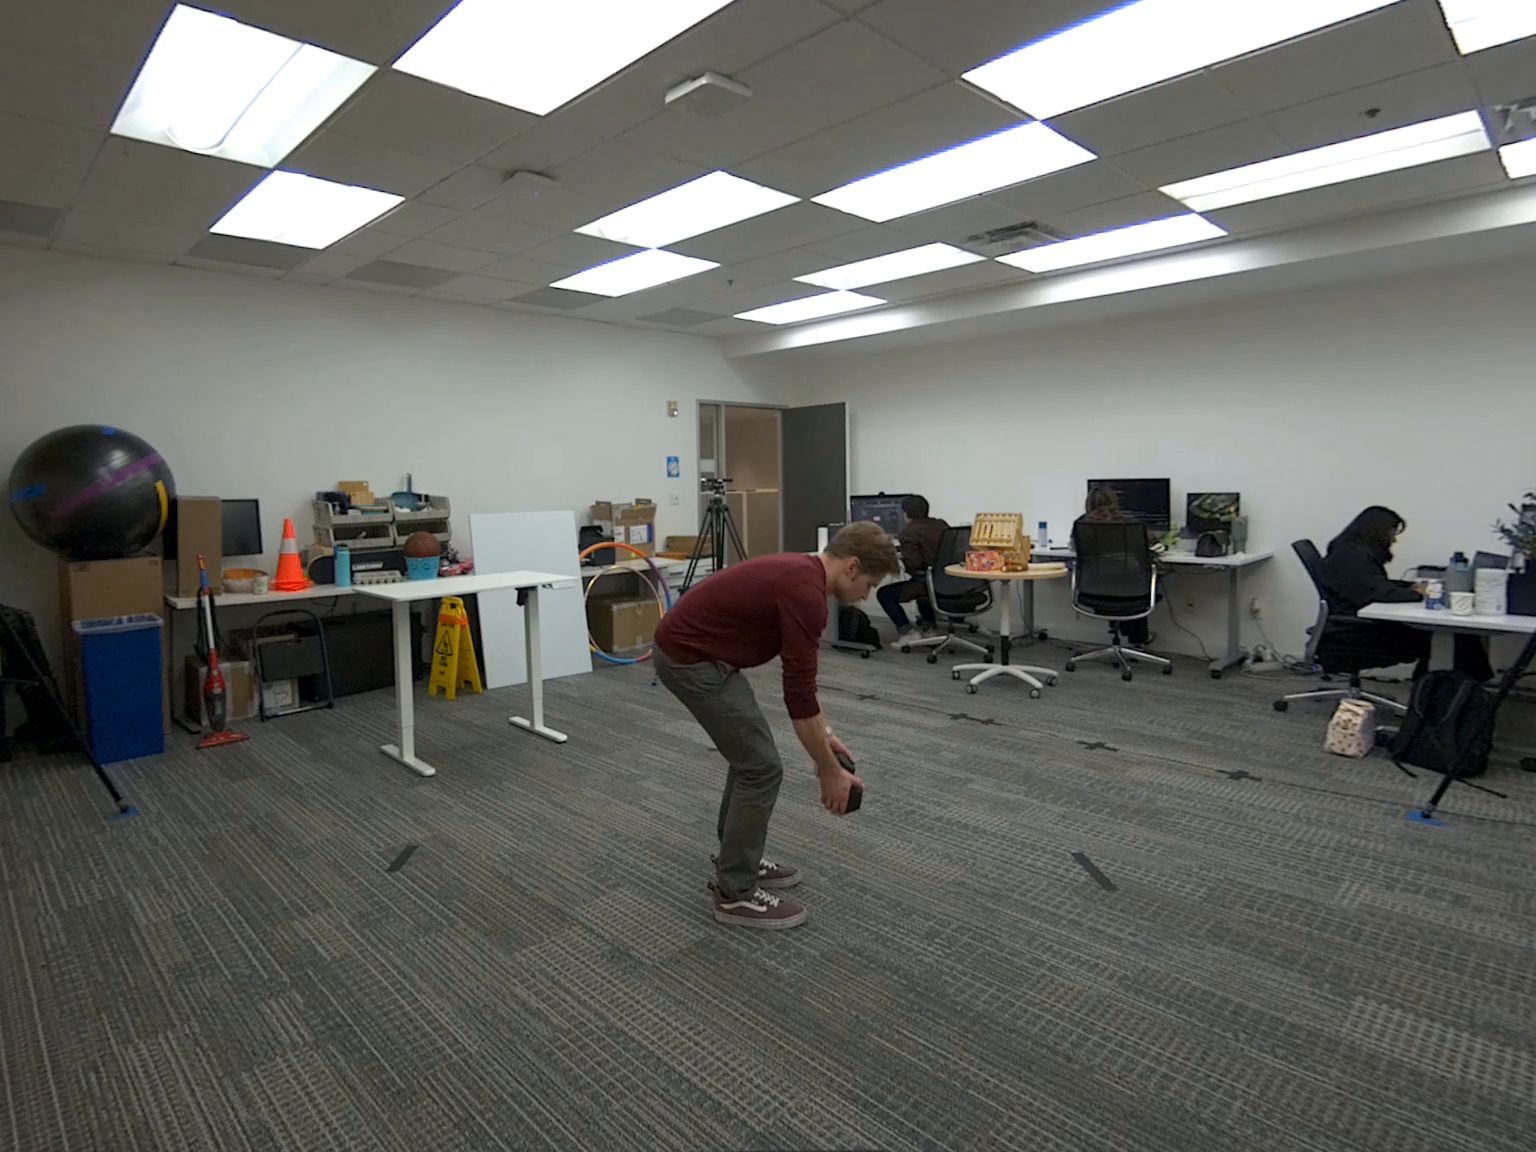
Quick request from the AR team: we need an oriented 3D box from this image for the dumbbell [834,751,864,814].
[{"bbox_3d":[0.222,0.676,2.802,0.123,0.108,0.294,38,6,-2],"label":"dumbbell"}]
